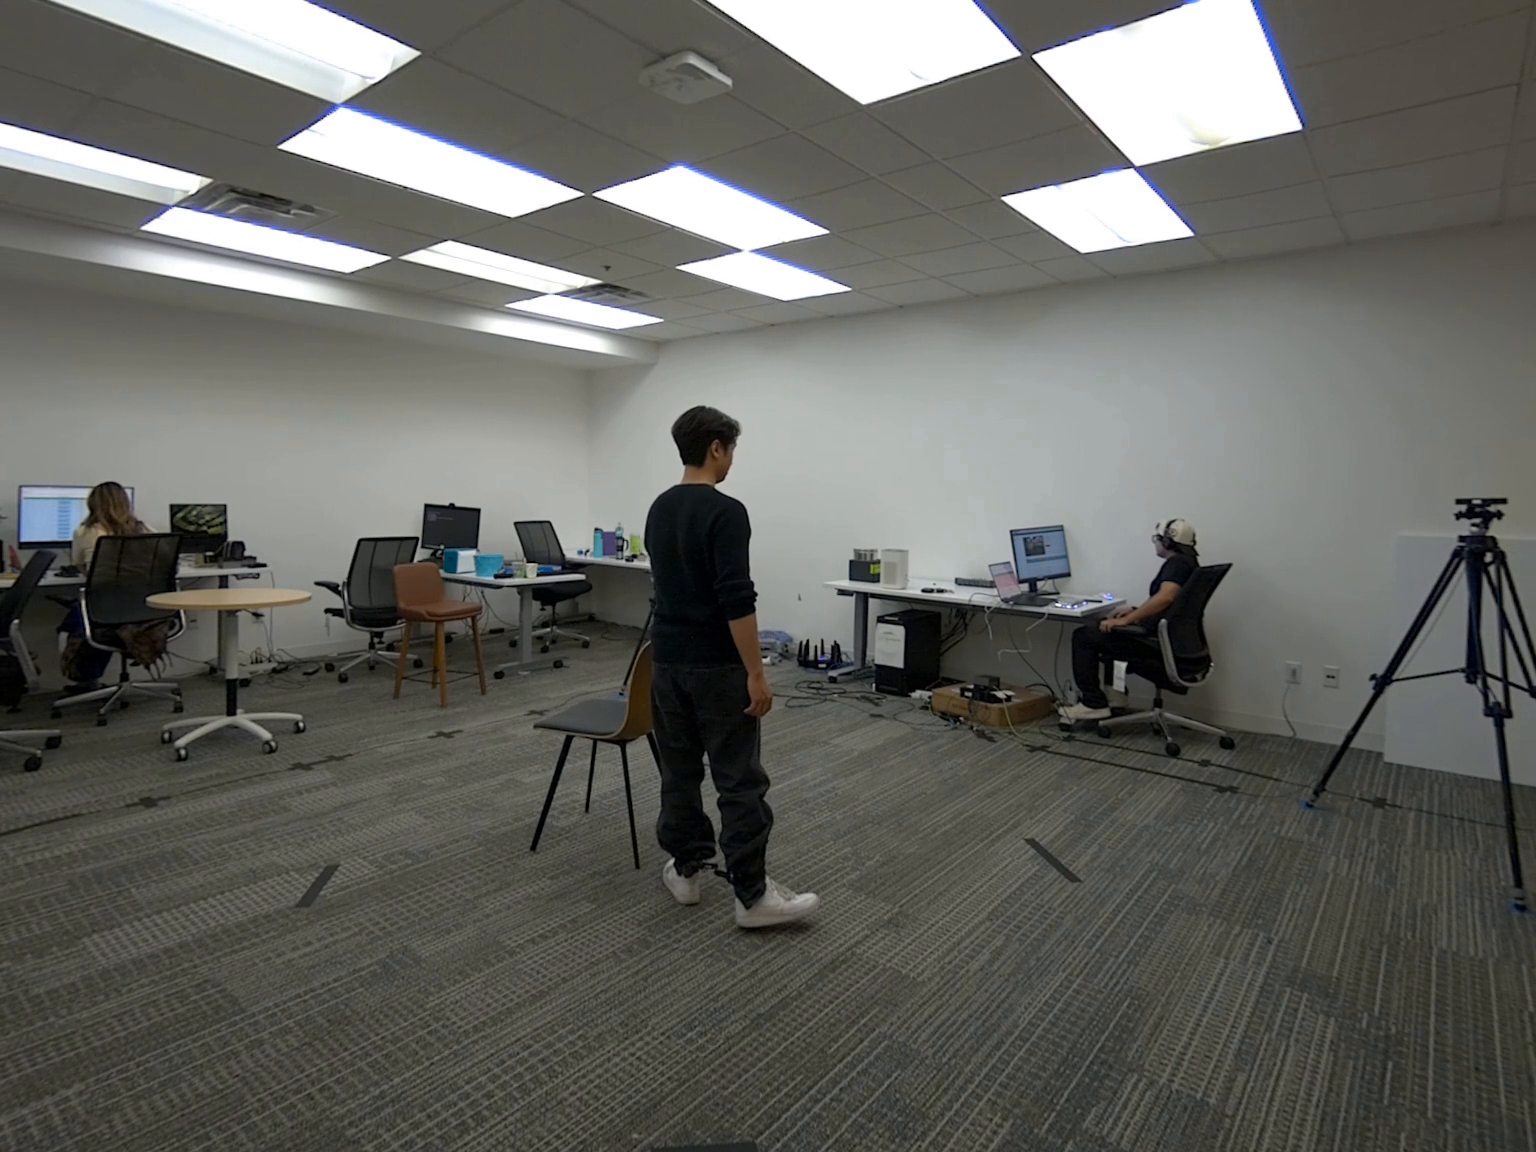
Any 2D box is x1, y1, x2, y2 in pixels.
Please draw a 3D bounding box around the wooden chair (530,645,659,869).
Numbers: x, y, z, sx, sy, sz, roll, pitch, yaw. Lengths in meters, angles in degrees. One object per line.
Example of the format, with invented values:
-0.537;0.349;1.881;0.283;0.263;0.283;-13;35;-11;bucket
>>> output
-0.640;0.612;3.347;0.534;0.874;0.470;7;5;17;wooden chair
